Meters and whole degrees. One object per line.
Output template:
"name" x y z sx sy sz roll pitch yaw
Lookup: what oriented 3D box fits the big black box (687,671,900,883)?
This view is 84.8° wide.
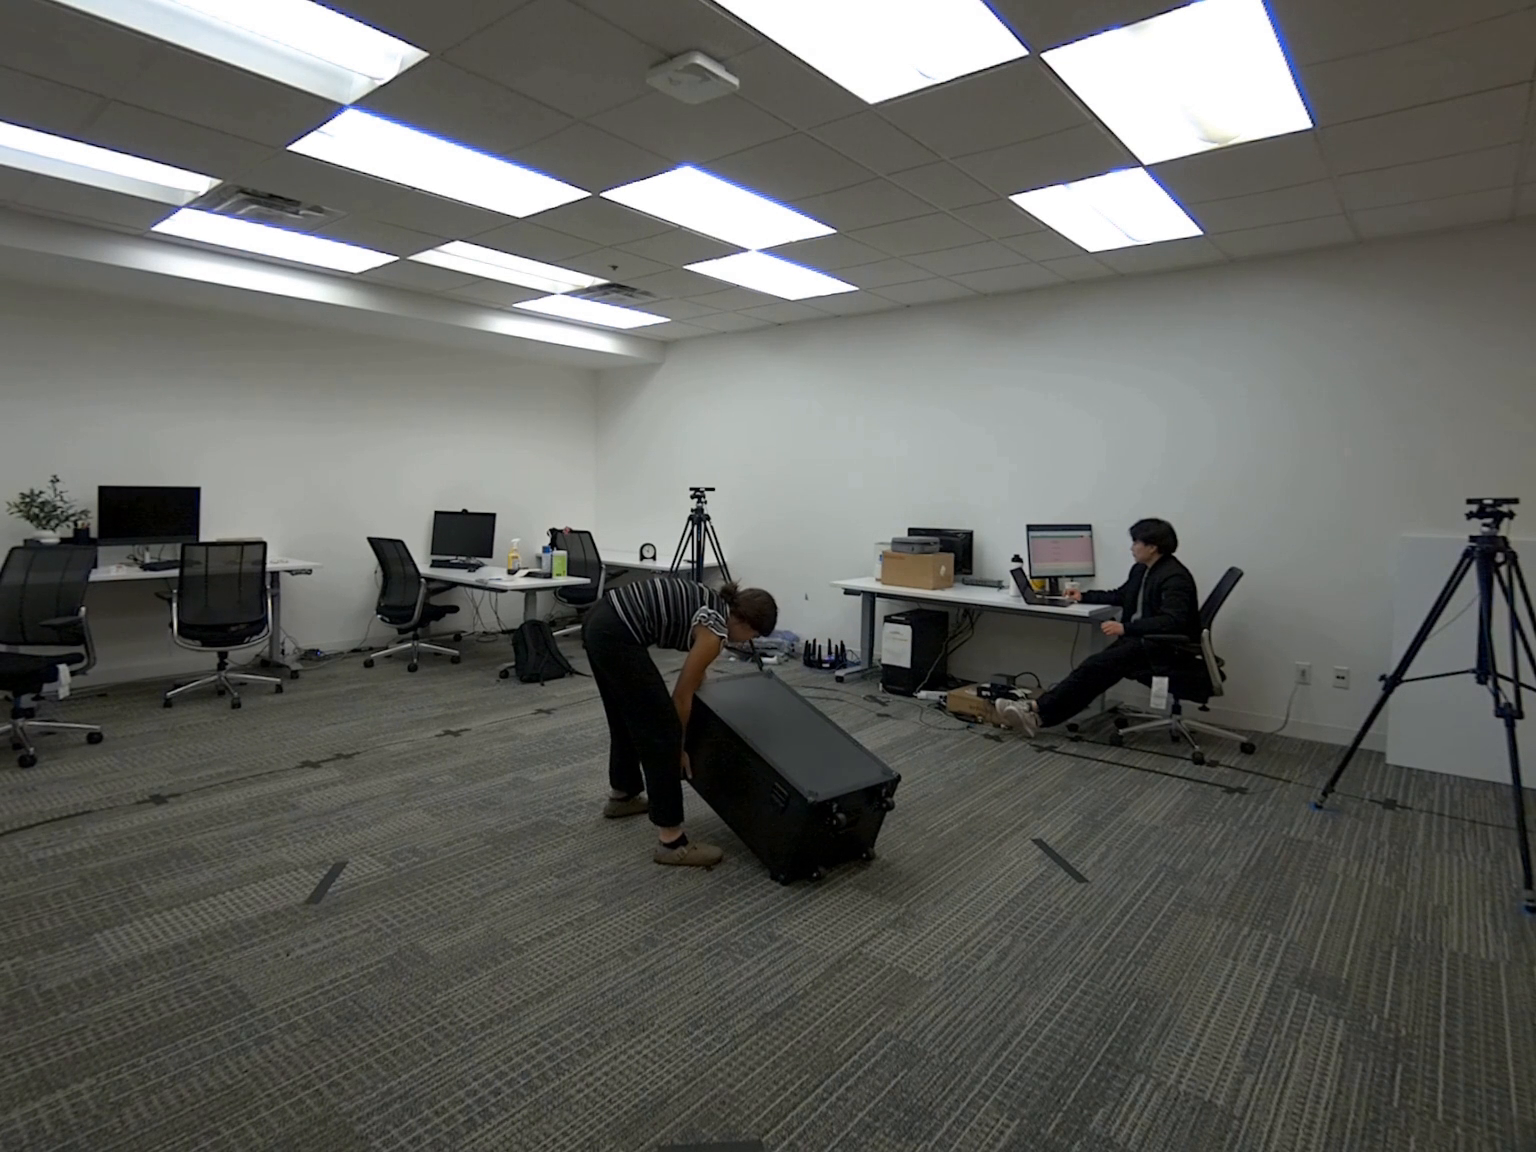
"big black box" 0.044 0.770 3.325 0.505 0.391 0.899 -3 26 -41
